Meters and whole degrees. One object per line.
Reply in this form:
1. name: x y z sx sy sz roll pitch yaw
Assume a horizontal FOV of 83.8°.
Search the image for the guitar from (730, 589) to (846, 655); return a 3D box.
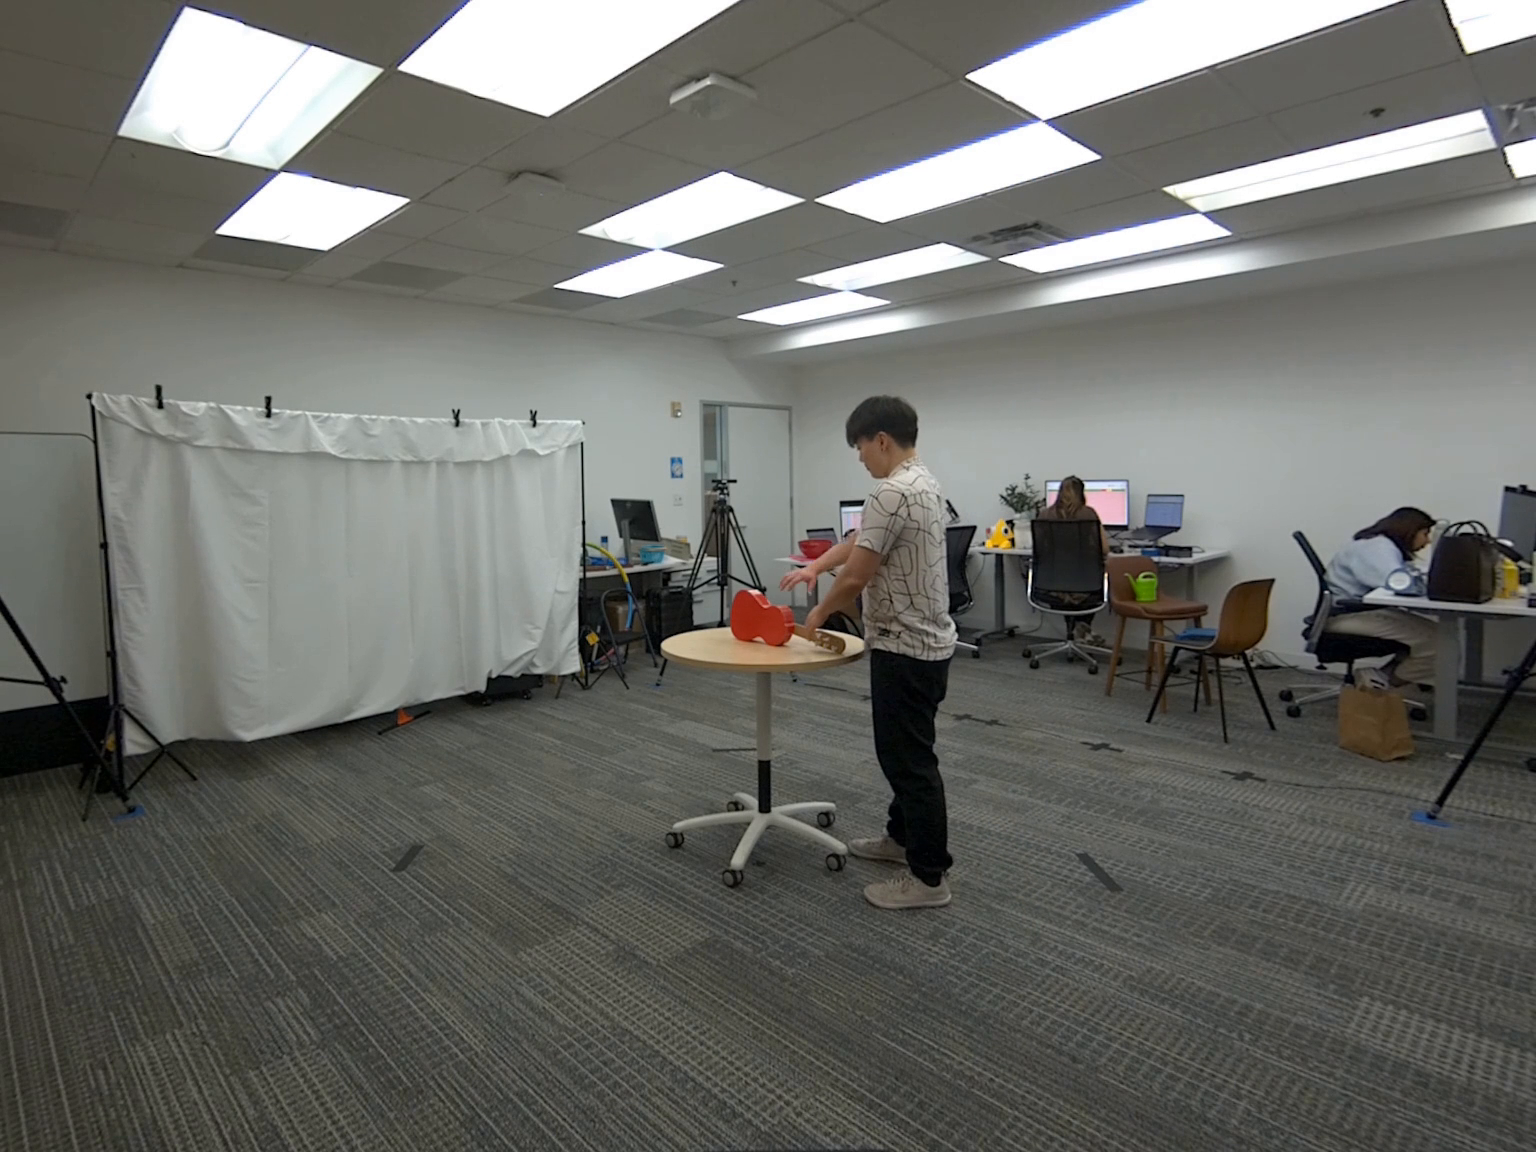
1. guitar: 0.068 0.164 3.135 0.513 0.192 0.069 6 5 42
